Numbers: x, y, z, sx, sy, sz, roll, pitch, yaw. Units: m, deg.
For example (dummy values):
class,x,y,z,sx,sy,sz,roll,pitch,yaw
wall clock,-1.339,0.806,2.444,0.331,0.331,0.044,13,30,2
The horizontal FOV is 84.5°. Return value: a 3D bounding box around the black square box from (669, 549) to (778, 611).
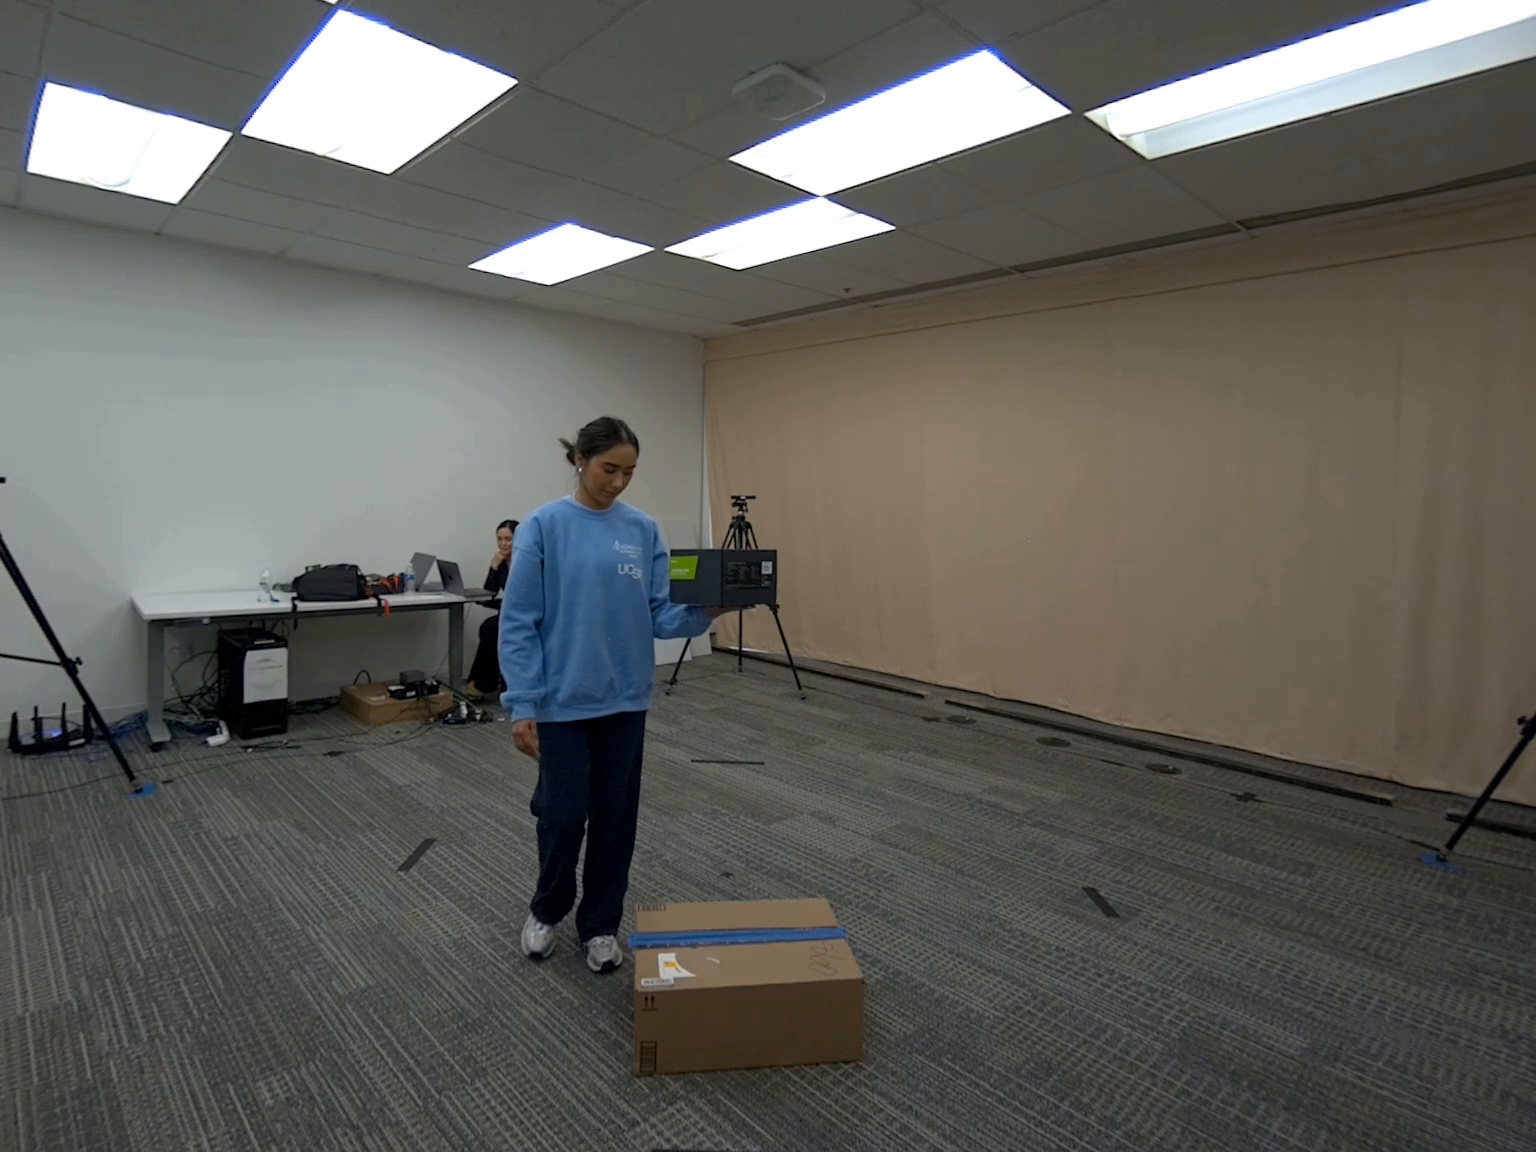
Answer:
class,x,y,z,sx,sy,sz,roll,pitch,yaw
black square box,-0.145,-0.002,2.410,0.212,0.156,0.233,0,1,-44
